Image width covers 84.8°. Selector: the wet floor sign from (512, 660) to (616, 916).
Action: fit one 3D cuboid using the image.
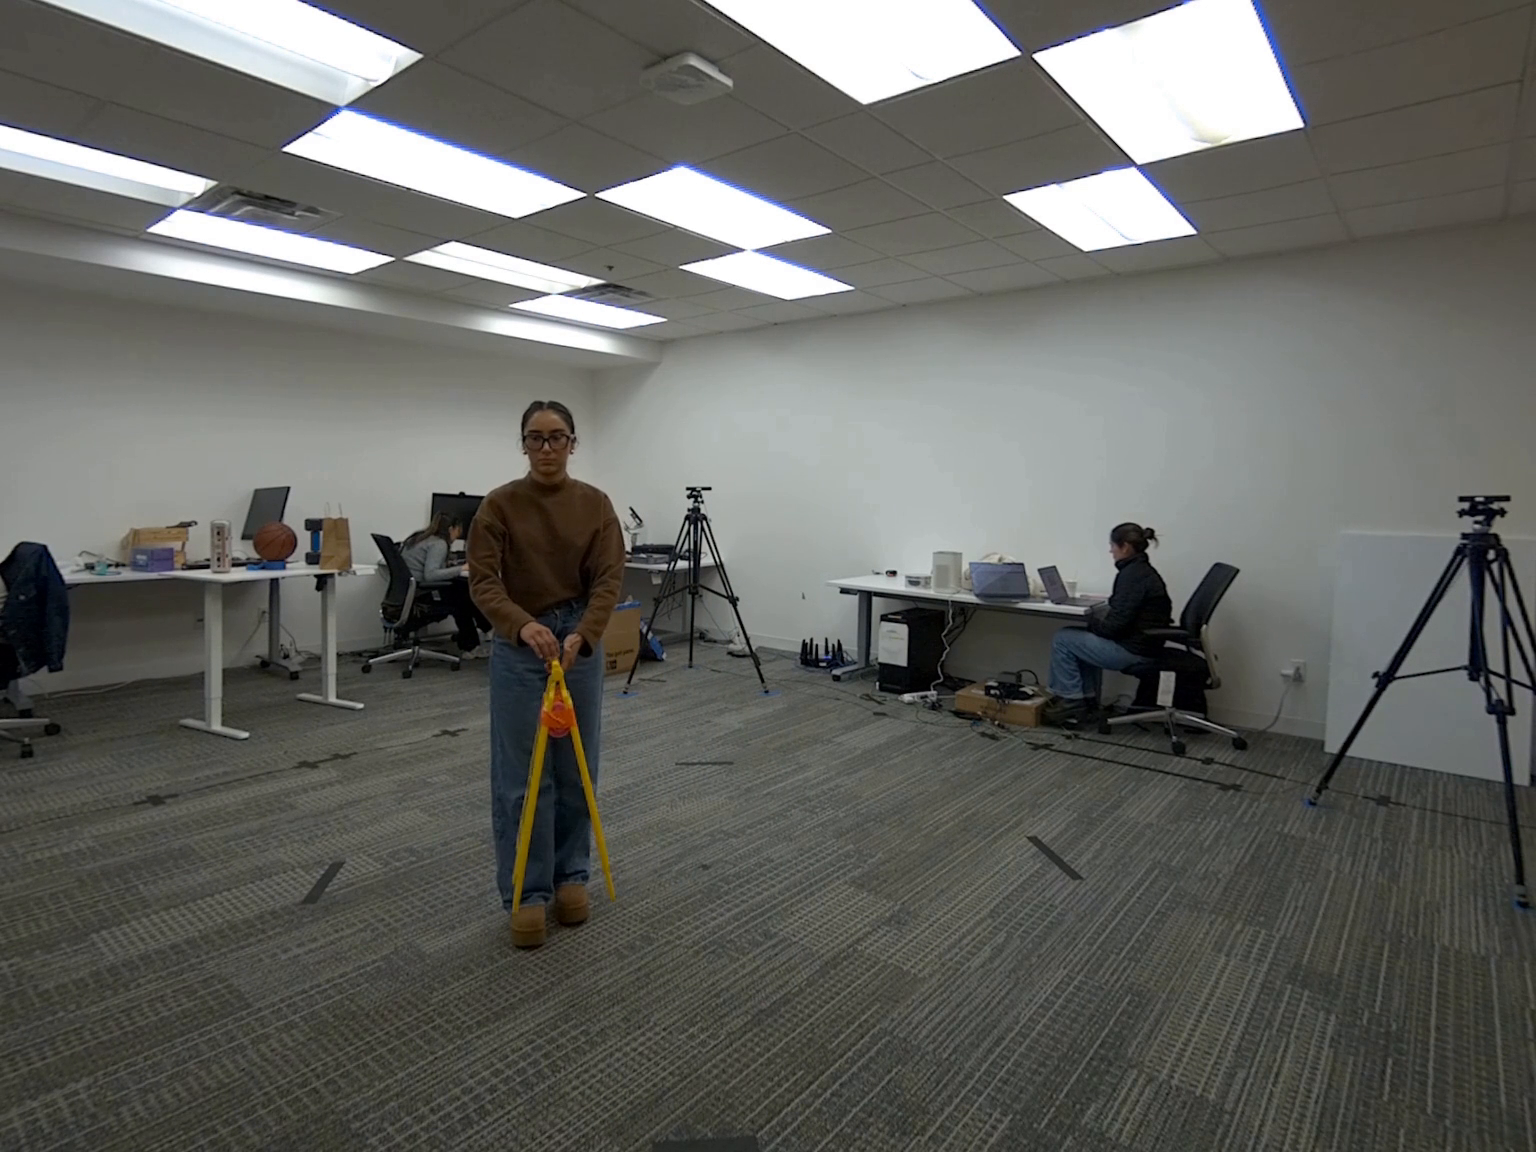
[{"bbox_3d":[-0.604,0.556,2.394,0.285,0.646,0.286,-2,0,-15],"label":"wet floor sign"}]
